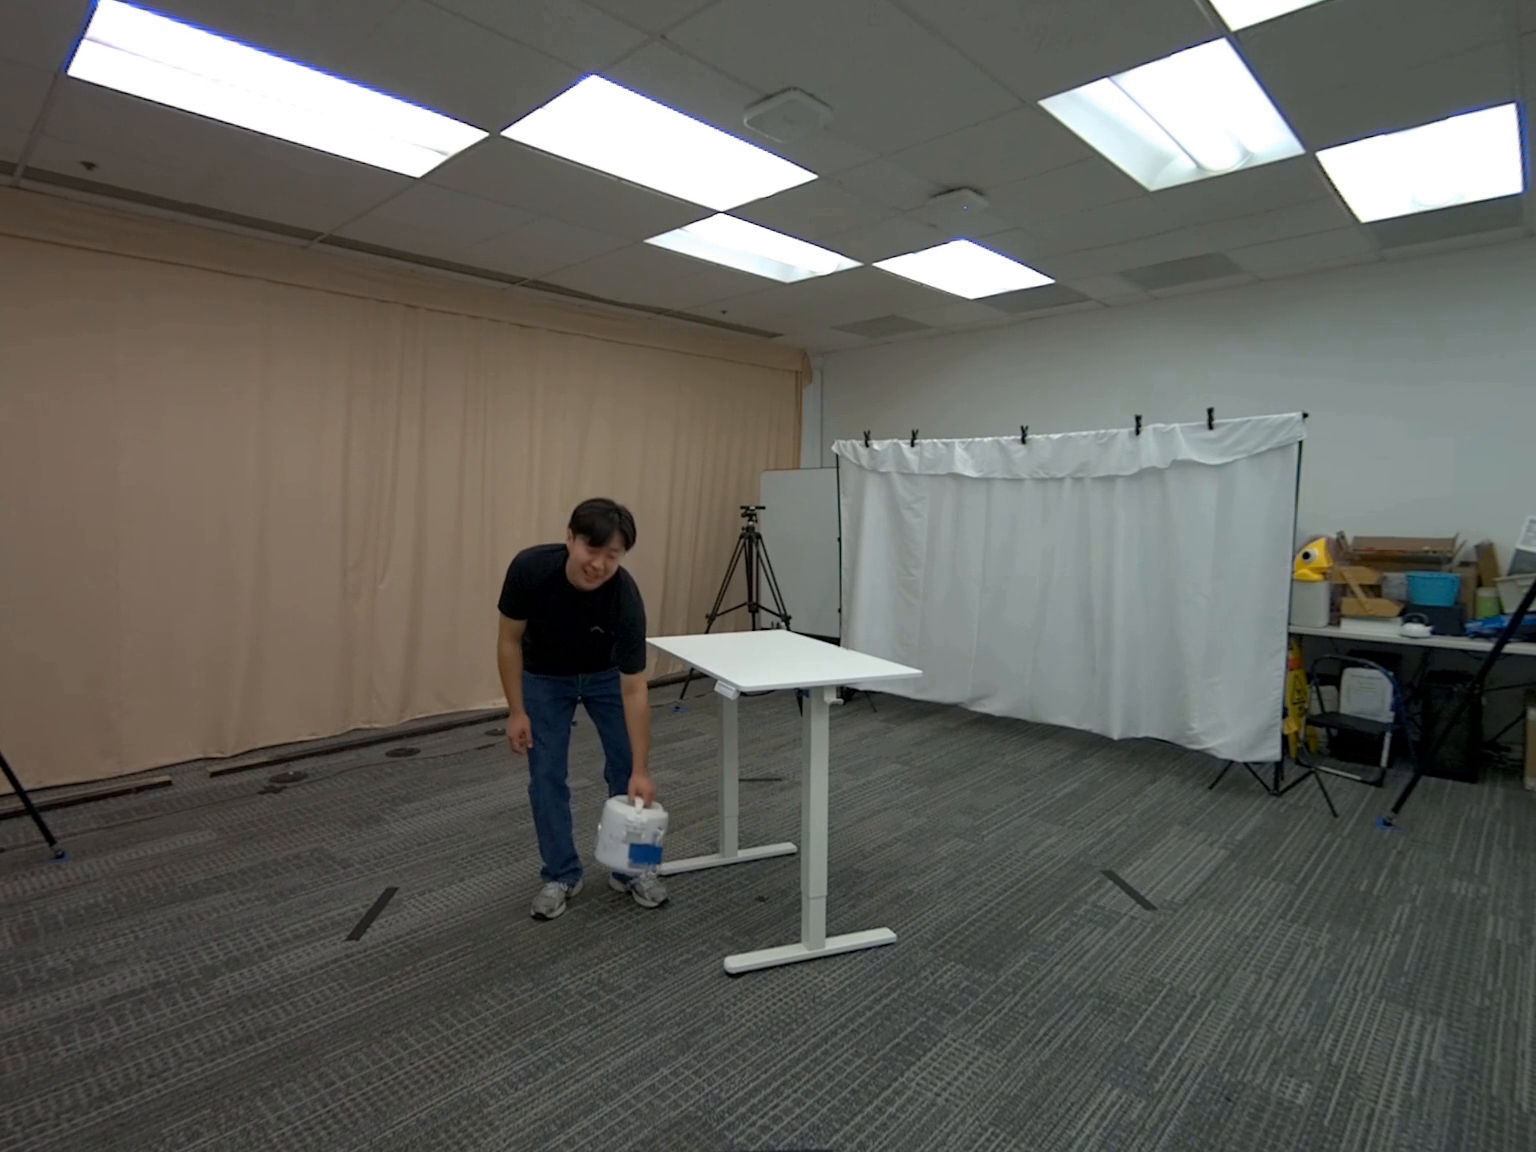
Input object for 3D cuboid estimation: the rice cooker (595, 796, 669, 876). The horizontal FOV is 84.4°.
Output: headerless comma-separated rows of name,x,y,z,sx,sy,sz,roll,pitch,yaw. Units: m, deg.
rice cooker,-0.424,0.807,2.691,0.216,0.233,0.221,13,-3,-5
